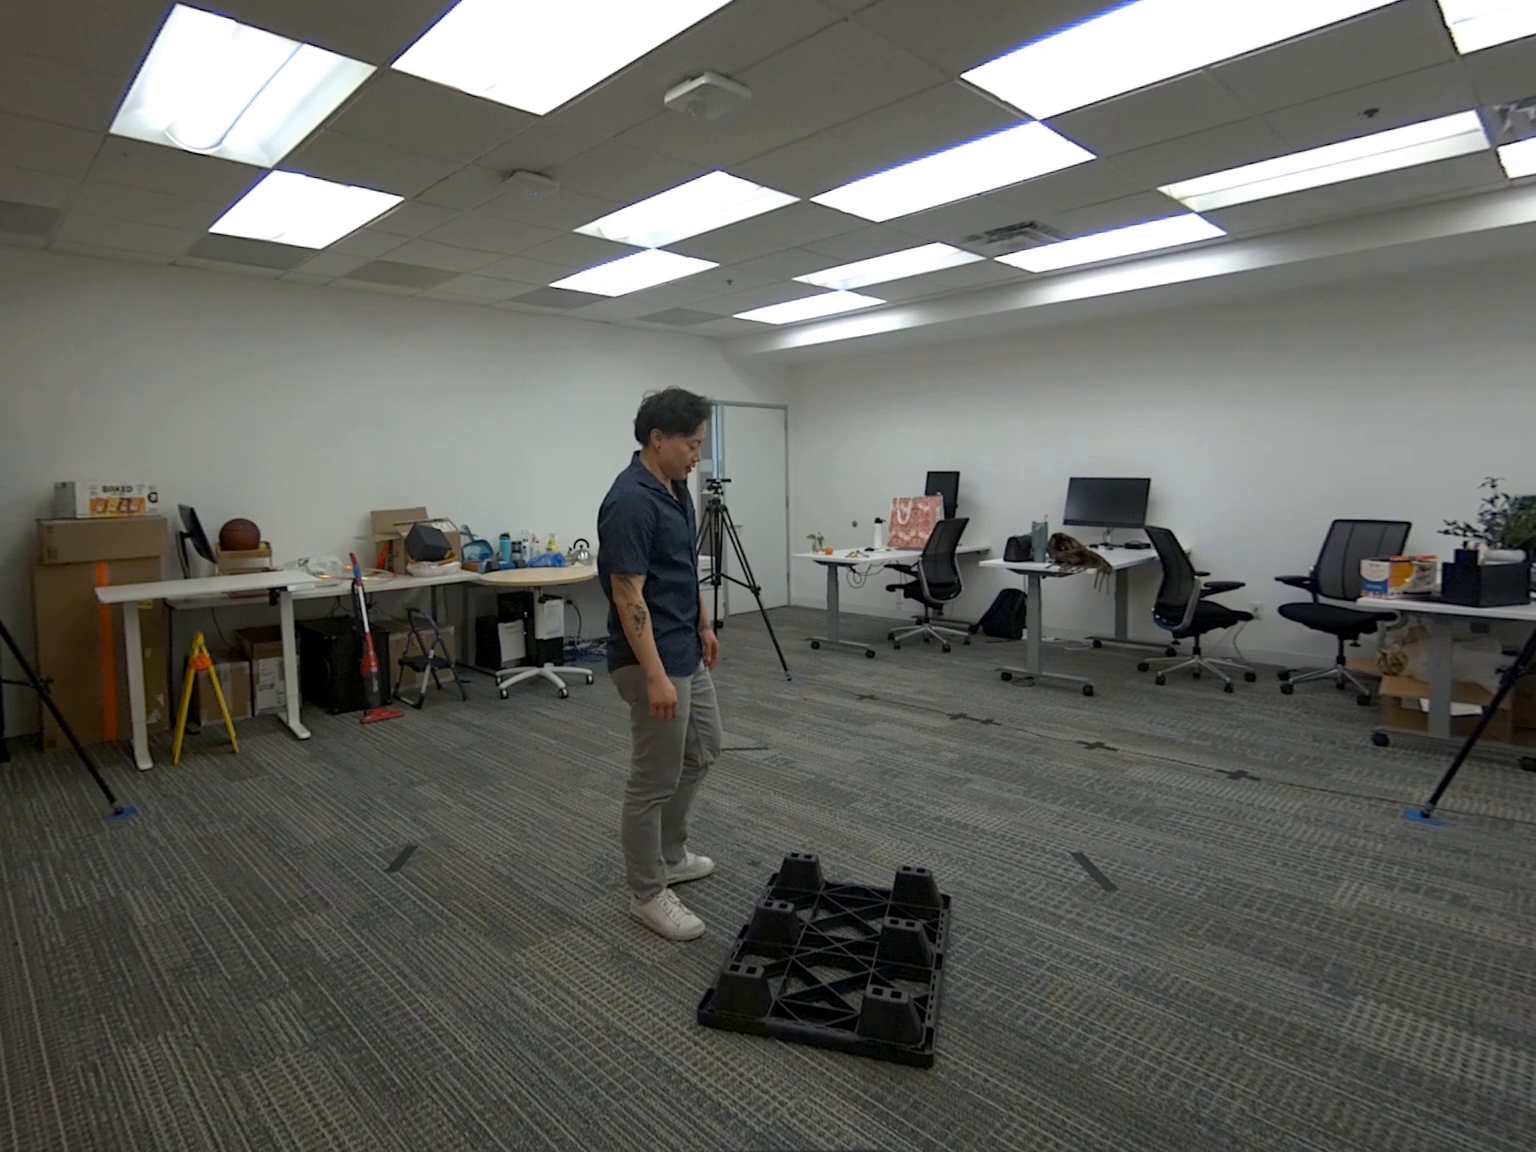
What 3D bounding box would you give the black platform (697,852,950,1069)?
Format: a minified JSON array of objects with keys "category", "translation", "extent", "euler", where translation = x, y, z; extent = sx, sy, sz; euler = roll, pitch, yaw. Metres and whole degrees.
[{"category":"black platform","translation":[0.212,1.051,2.469],"extent":[0.615,0.142,0.797],"euler":[0,7,16]}]
